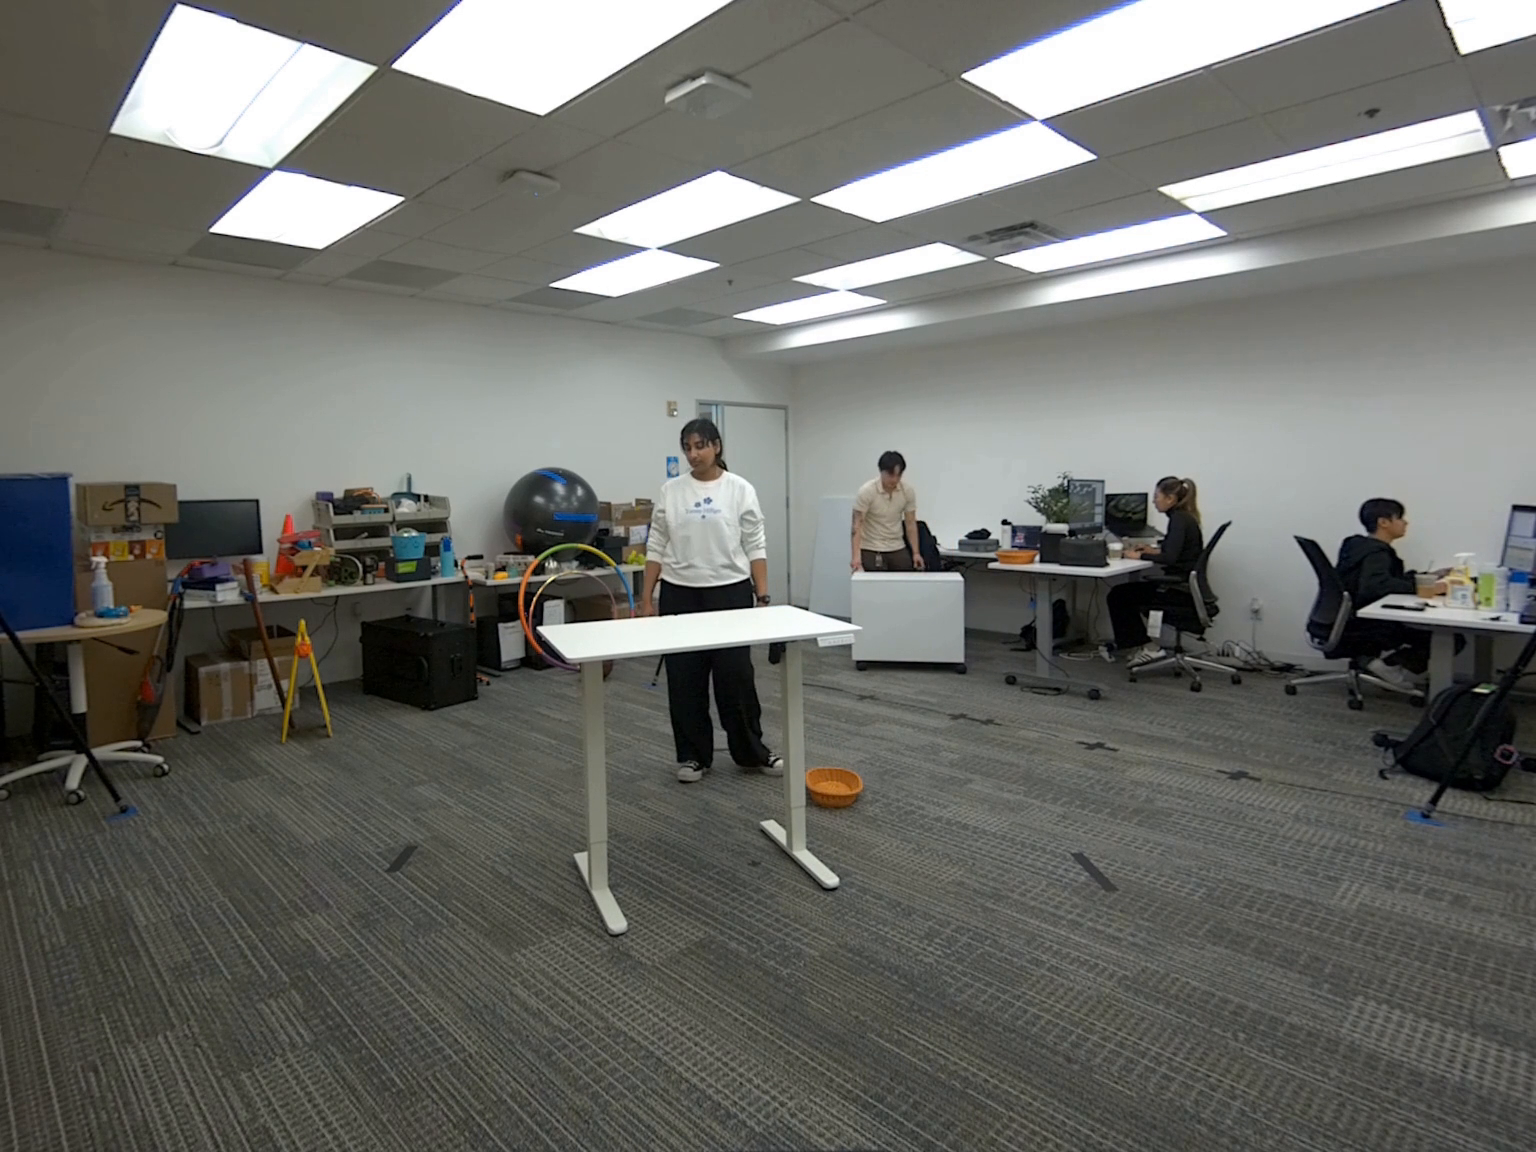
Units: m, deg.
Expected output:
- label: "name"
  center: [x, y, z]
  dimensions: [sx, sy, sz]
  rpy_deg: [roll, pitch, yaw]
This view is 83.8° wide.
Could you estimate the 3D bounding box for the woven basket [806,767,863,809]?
- label: "woven basket"
  center: [0.285, 0.925, 3.761]
  dimensions: [0.254, 0.073, 0.350]
  rpy_deg: [1, 6, 4]
